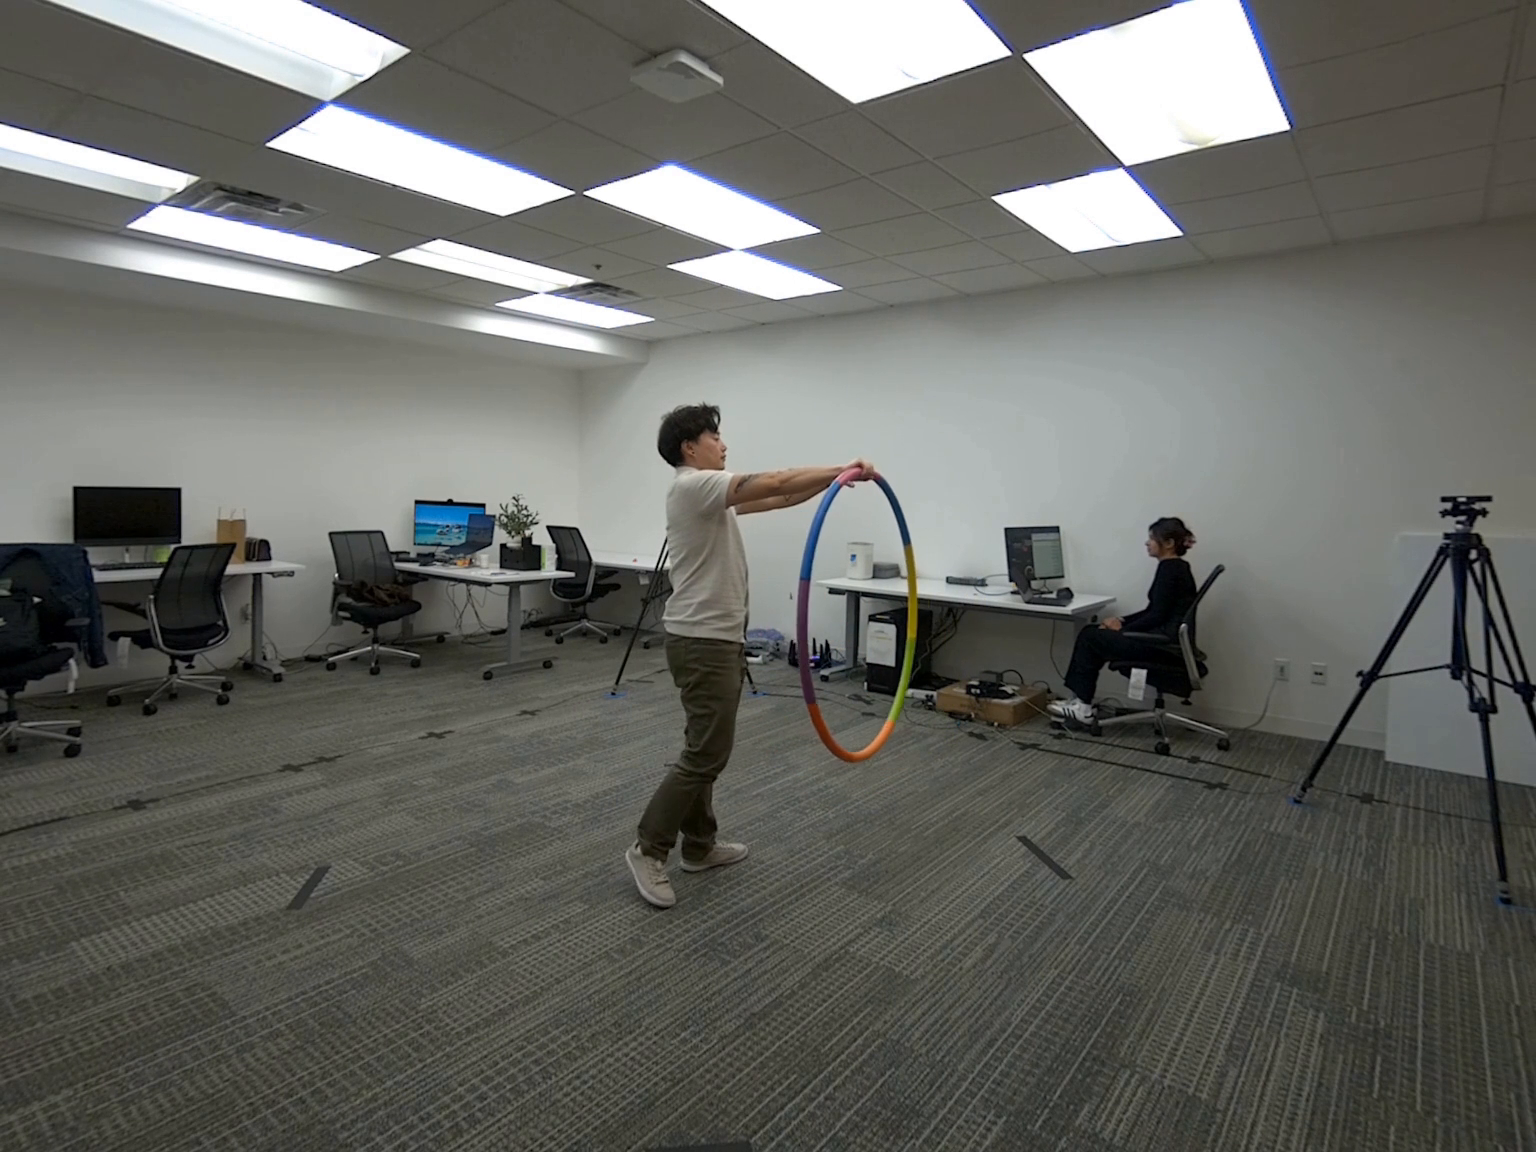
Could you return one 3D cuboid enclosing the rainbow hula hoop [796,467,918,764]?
[{"bbox_3d":[0.322,0.129,2.903,0.036,0.977,0.953,0,3,30],"label":"rainbow hula hoop"}]
